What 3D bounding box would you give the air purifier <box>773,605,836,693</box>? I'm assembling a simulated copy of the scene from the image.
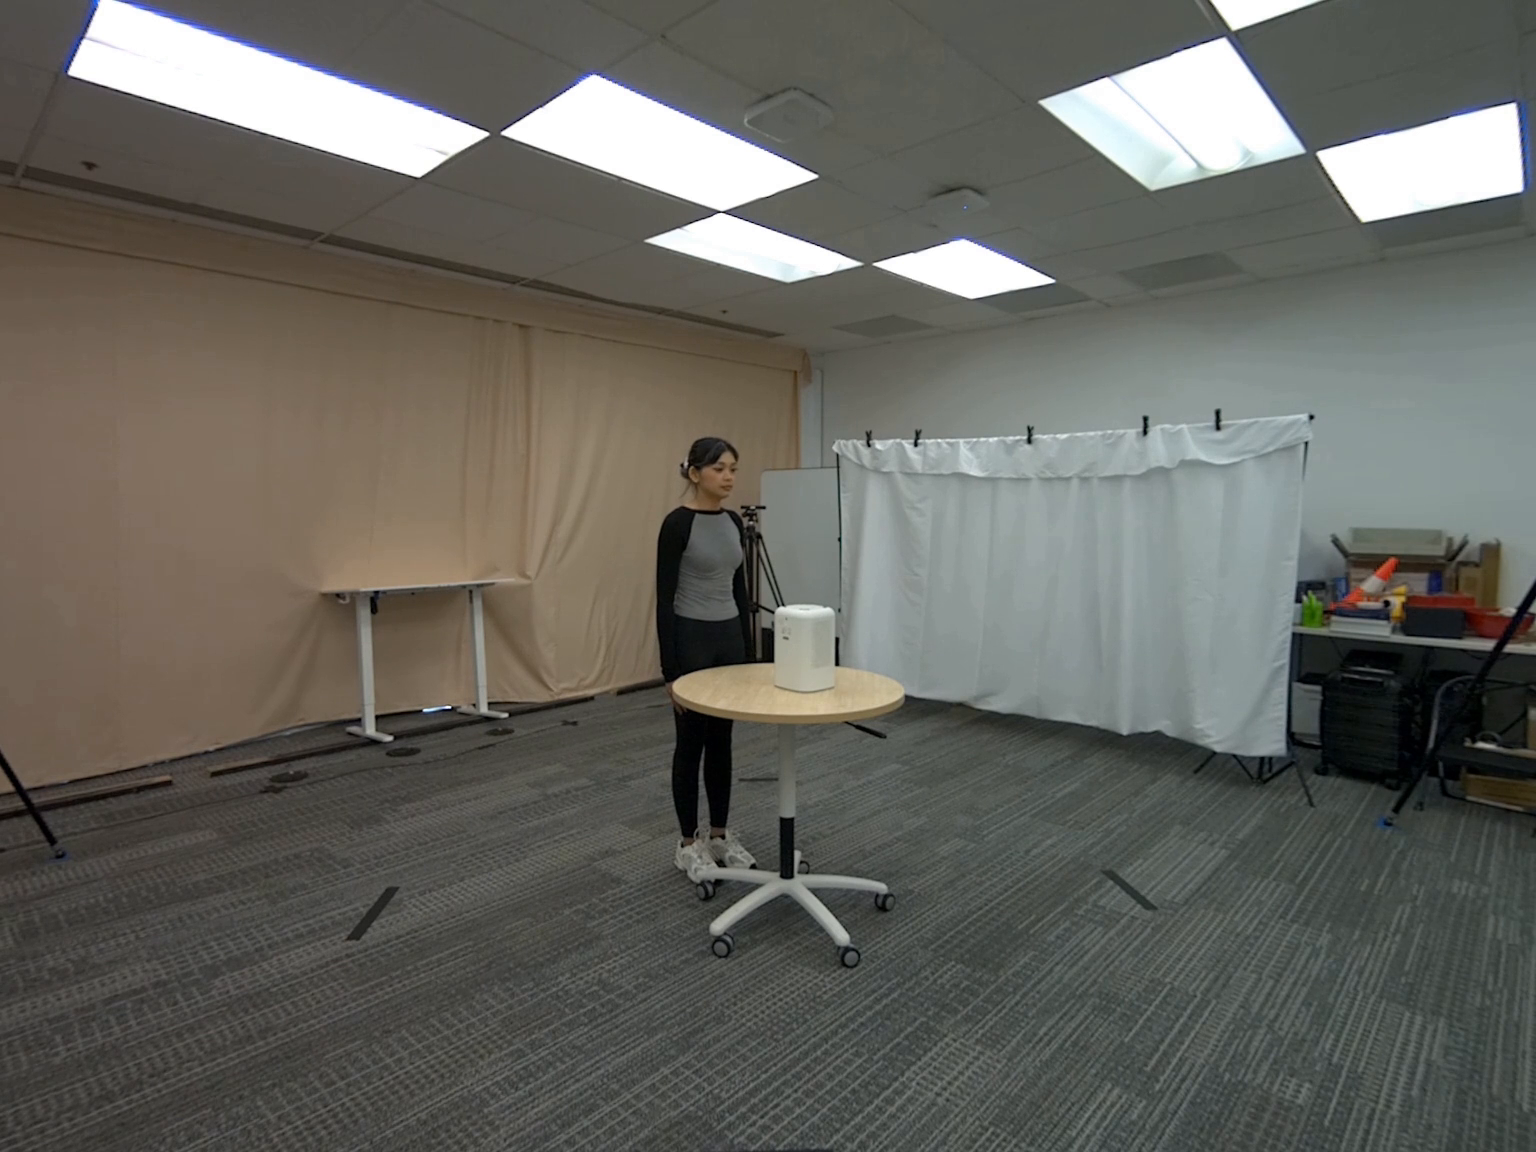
[{"bbox_3d":[0.125,0.234,2.788,0.166,0.265,0.177,-3,5,-41],"label":"air purifier"}]
